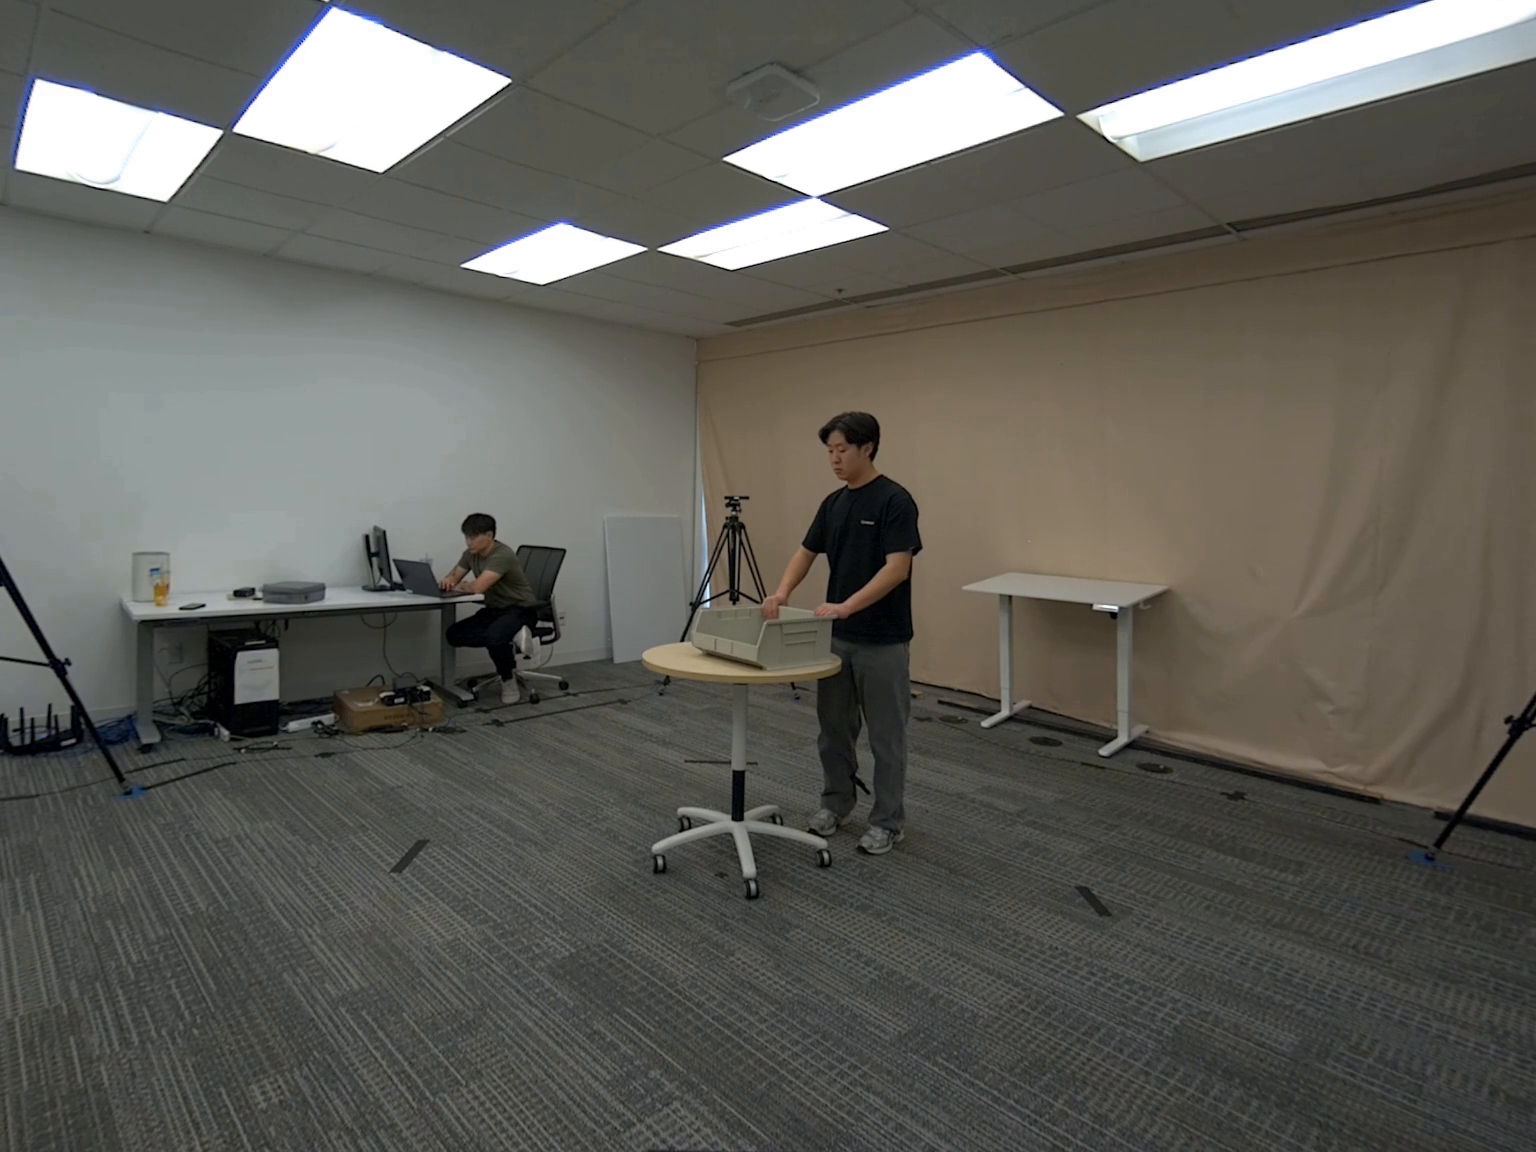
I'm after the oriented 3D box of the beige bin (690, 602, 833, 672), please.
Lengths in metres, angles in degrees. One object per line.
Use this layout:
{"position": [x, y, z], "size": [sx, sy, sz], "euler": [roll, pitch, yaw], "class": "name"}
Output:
{"position": [-0.029, 0.228, 3.194], "size": [0.369, 0.189, 0.433], "euler": [0, 4, -38], "class": "beige bin"}
